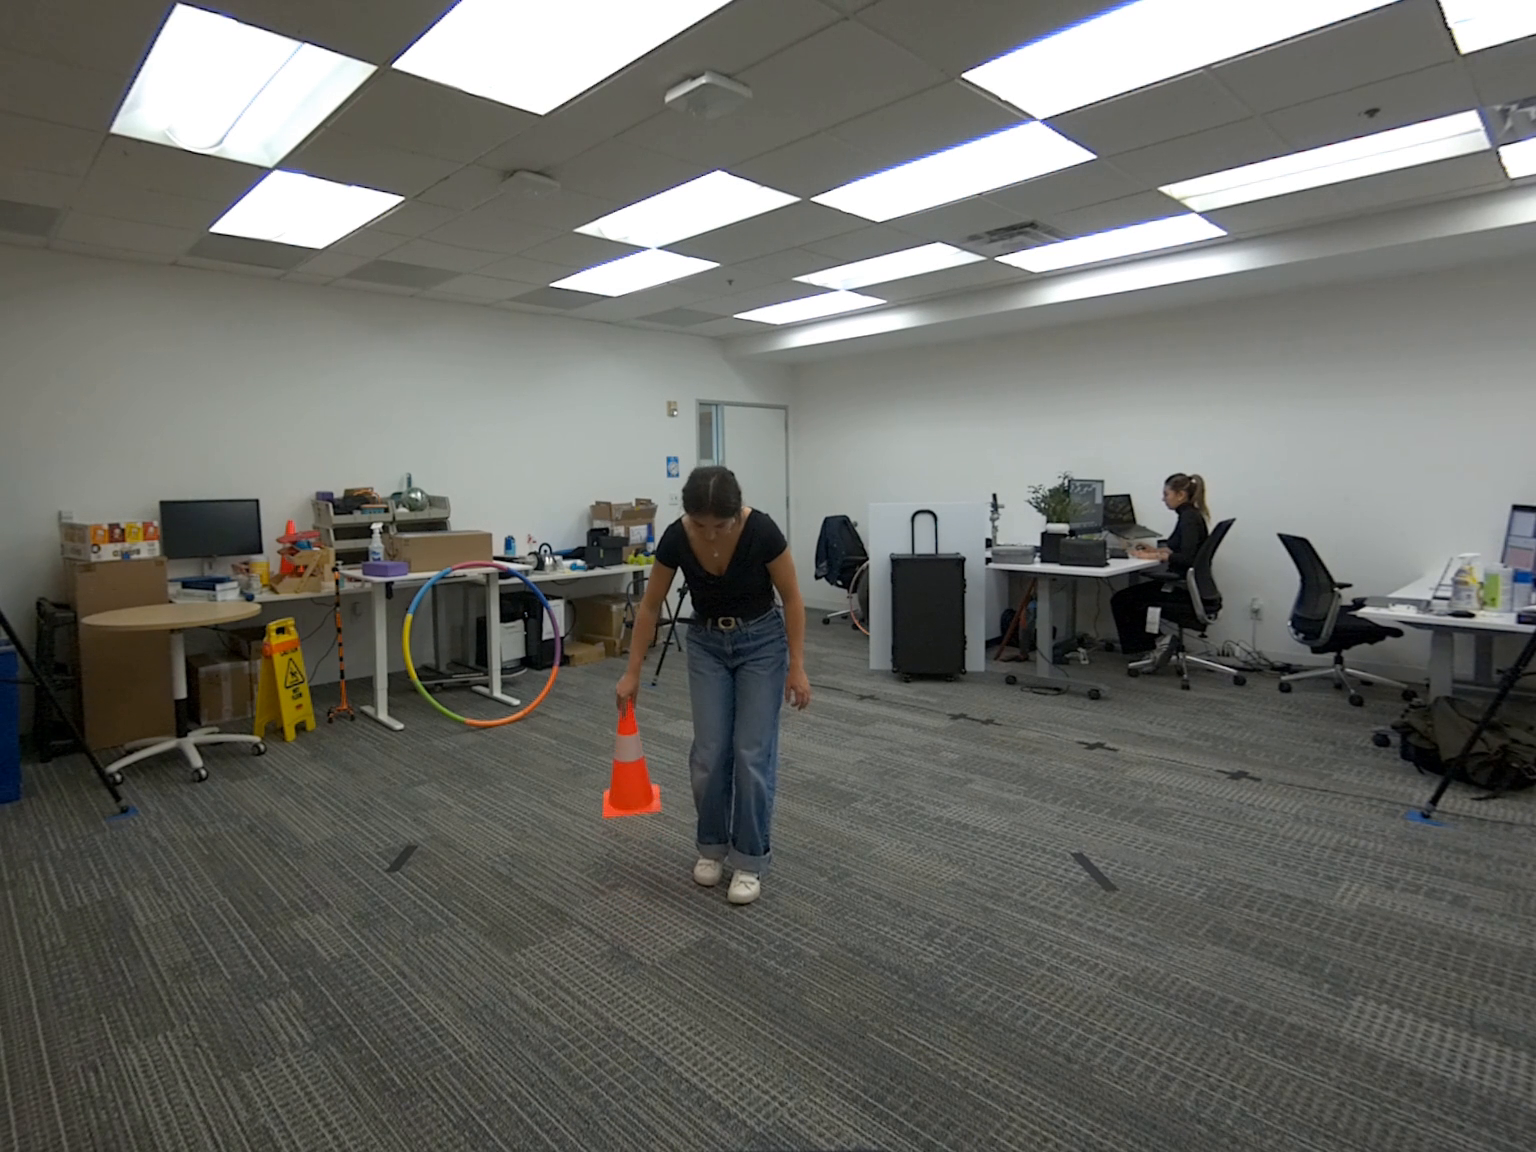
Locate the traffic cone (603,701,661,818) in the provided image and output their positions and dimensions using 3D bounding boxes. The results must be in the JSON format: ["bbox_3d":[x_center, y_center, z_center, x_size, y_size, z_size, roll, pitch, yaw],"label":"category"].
[{"bbox_3d":[-0.474,0.605,2.961,0.209,0.379,0.201,6,15,36],"label":"traffic cone"}]
